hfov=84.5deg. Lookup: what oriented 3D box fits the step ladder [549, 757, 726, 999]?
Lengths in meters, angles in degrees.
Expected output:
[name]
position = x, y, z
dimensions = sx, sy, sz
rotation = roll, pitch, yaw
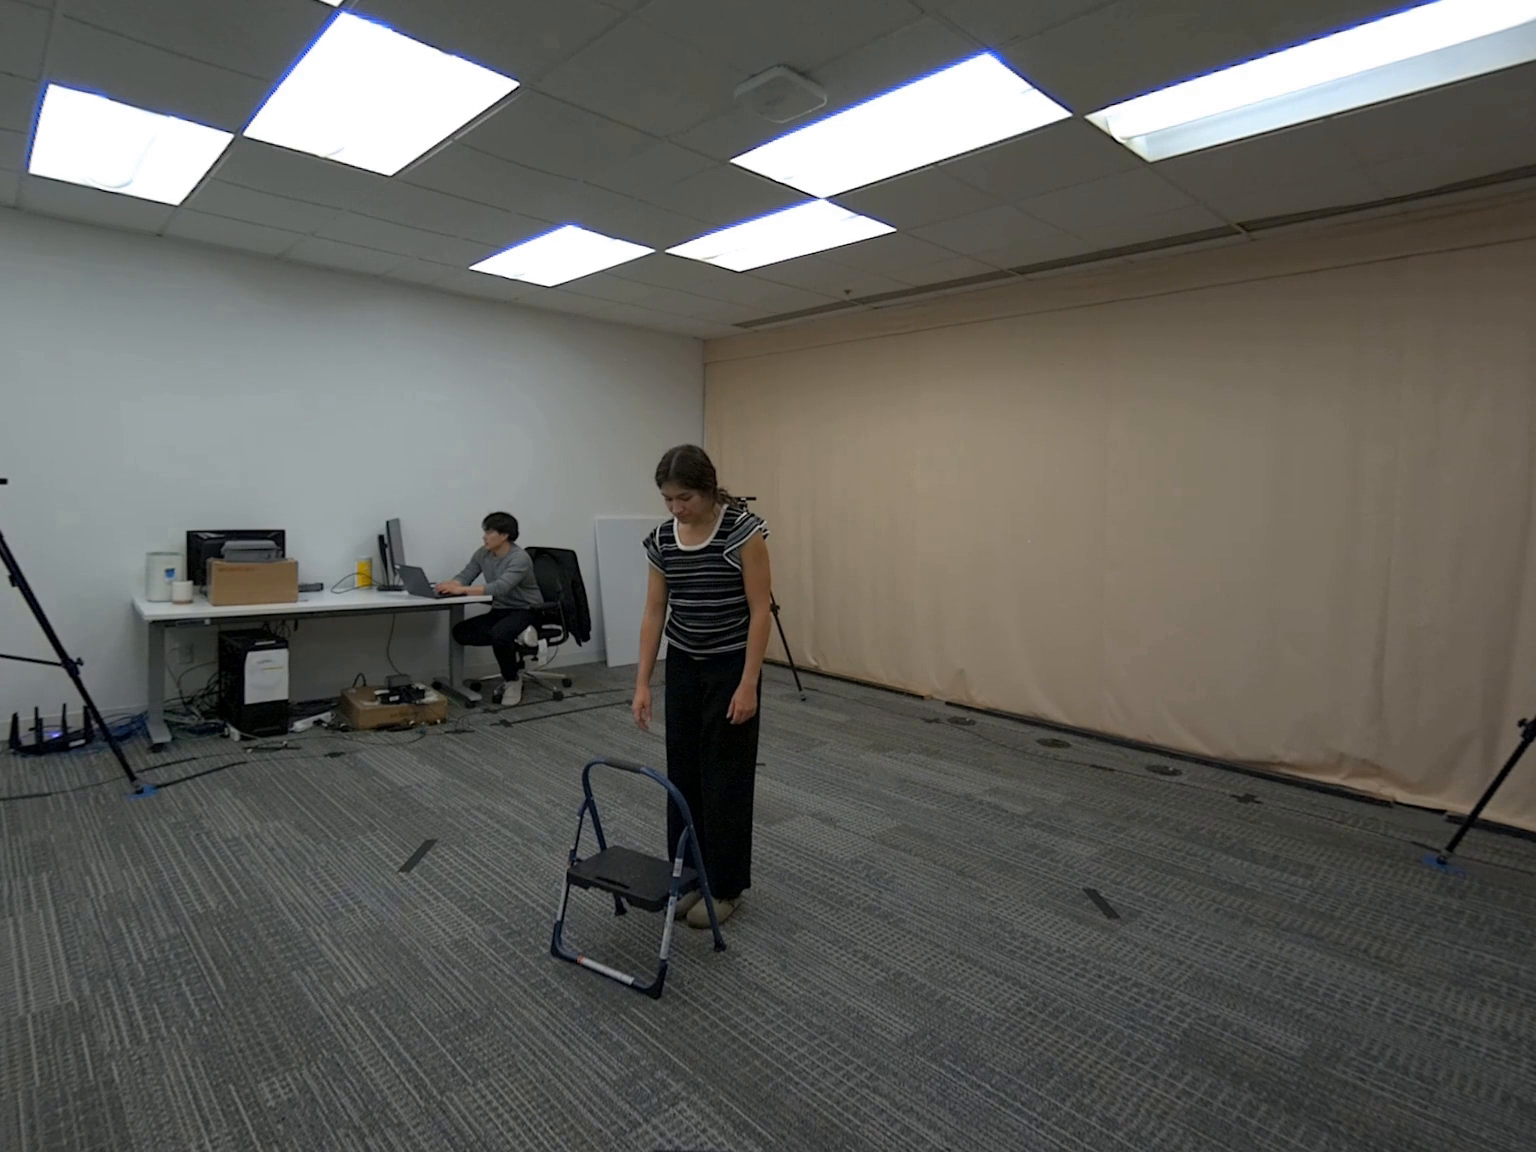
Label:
[step ladder]
position = -0.400, 0.849, 2.557
dimensions = 0.440, 0.604, 0.342
rotation = 4, 4, 31
